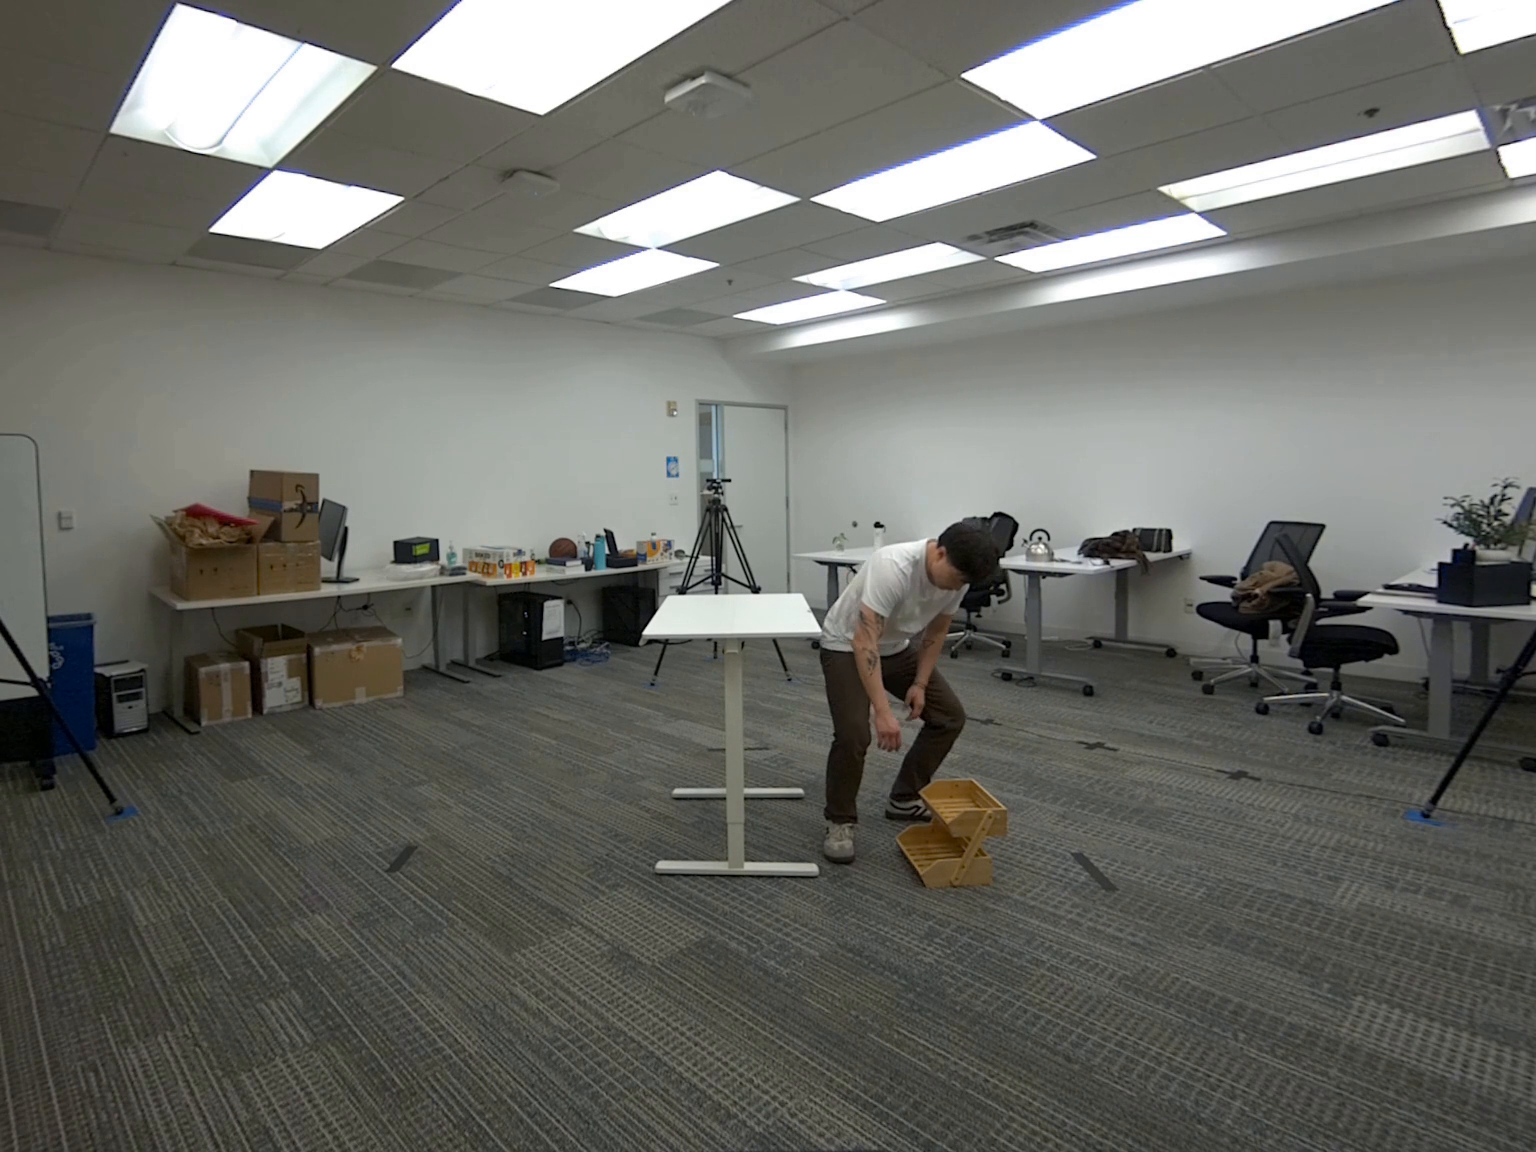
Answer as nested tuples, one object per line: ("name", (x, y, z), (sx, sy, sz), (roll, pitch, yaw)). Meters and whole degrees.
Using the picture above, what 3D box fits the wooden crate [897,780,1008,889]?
("wooden crate", (0.648, 0.912, 3.051), (0.300, 0.272, 0.328), (2, 5, -7))
